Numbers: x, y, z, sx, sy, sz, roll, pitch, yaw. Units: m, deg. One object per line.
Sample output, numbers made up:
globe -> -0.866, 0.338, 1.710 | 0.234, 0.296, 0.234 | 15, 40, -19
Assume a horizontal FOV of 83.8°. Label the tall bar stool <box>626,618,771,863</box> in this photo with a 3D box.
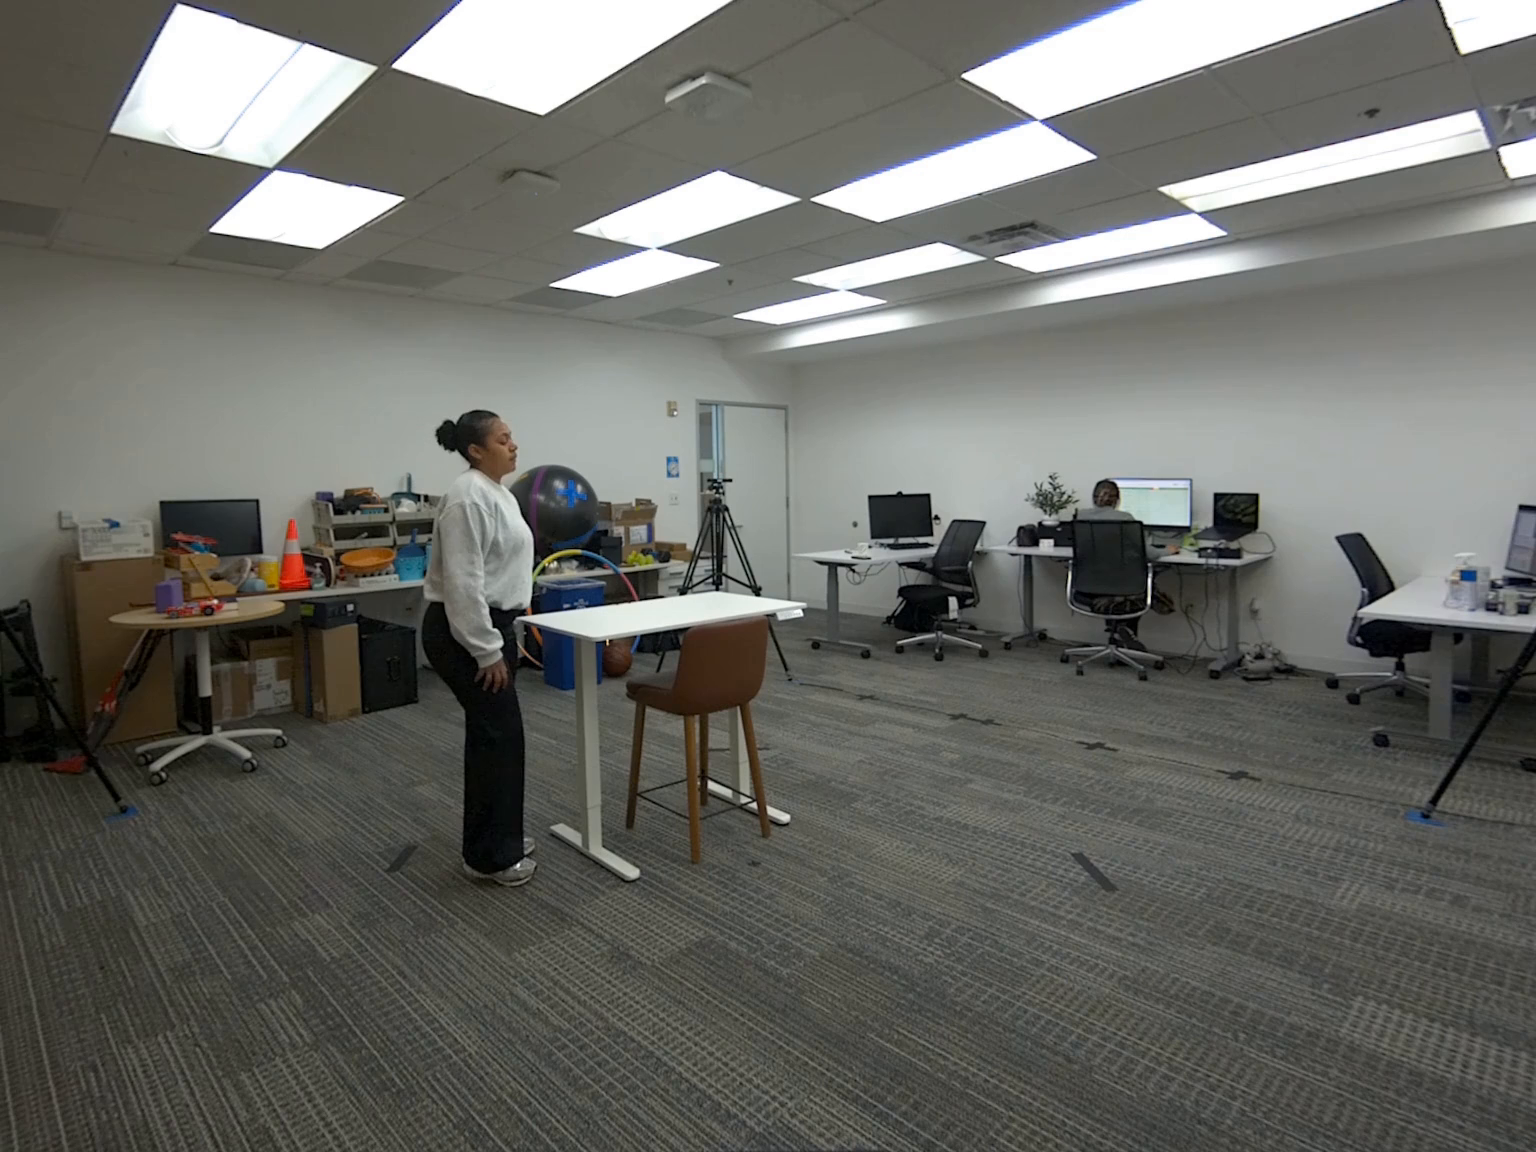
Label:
tall bar stool -> -0.277, 0.587, 3.369 | 0.444, 0.886, 0.482 | -3, 6, -41
